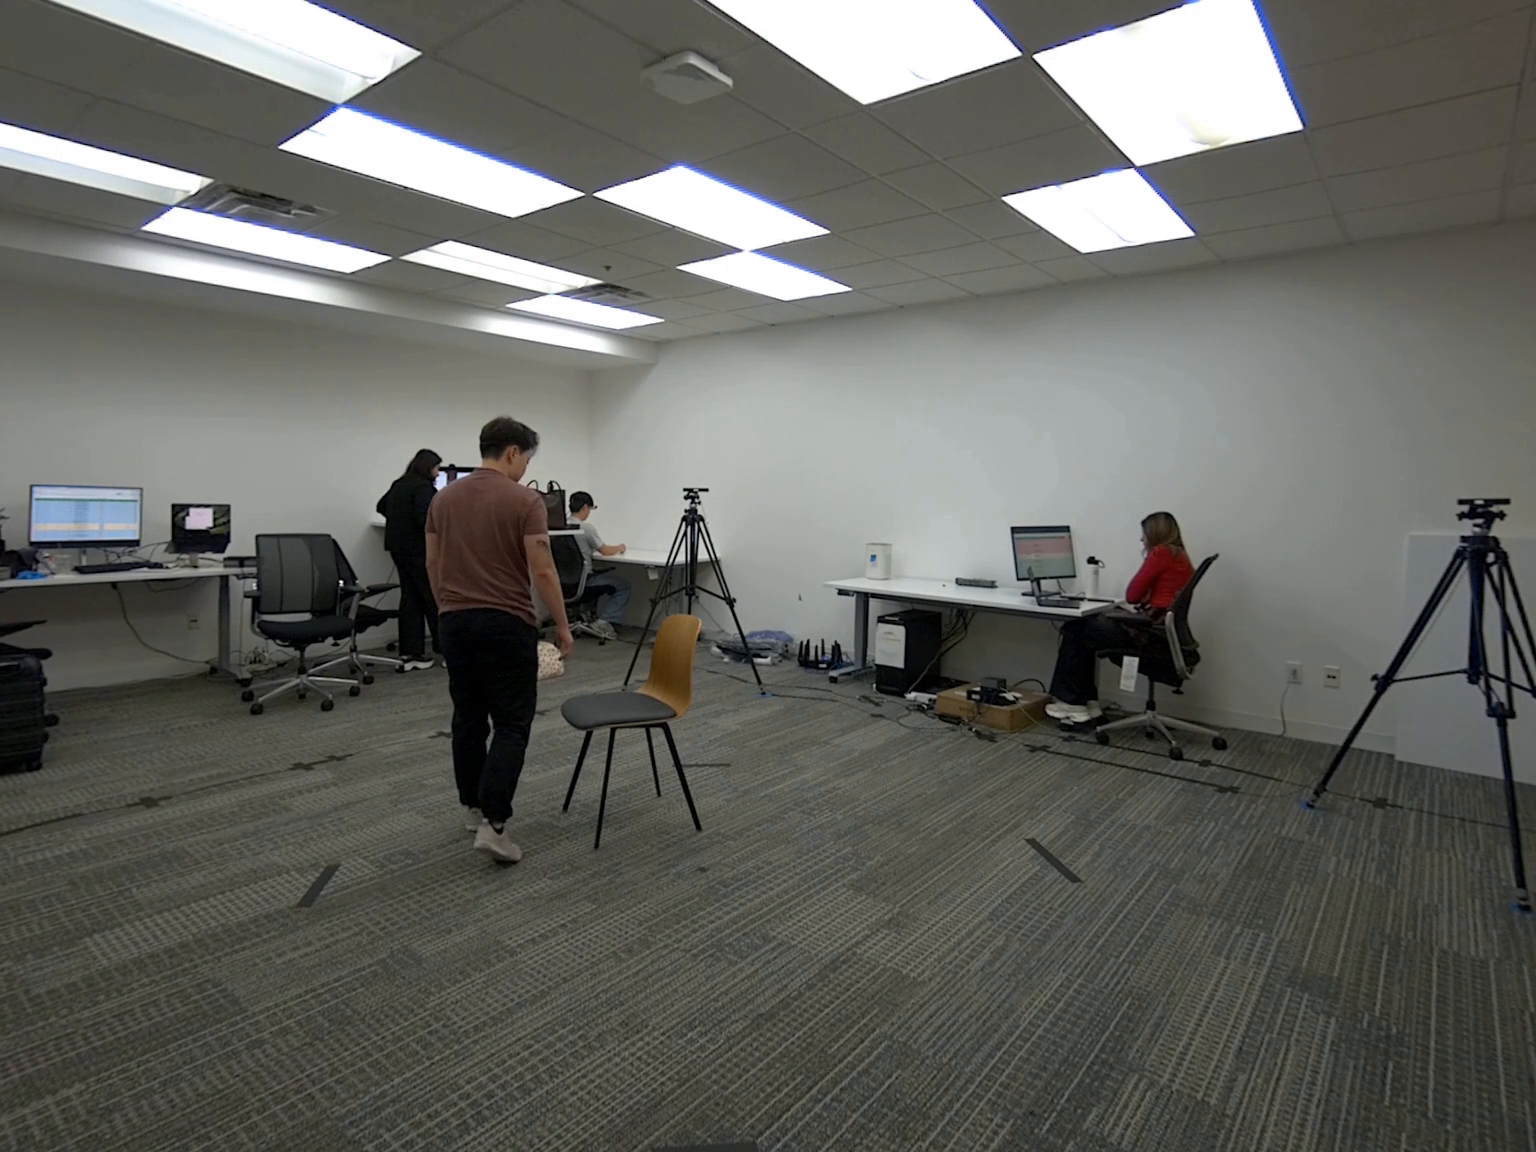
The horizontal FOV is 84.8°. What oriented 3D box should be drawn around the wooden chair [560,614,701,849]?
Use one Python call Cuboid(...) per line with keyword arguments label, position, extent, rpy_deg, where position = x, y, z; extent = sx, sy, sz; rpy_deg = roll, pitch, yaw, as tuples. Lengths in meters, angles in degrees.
Cuboid(label="wooden chair", position=(-0.588, 0.600, 3.526), extent=(0.509, 0.876, 0.492), rpy_deg=(3, 2, -28))
